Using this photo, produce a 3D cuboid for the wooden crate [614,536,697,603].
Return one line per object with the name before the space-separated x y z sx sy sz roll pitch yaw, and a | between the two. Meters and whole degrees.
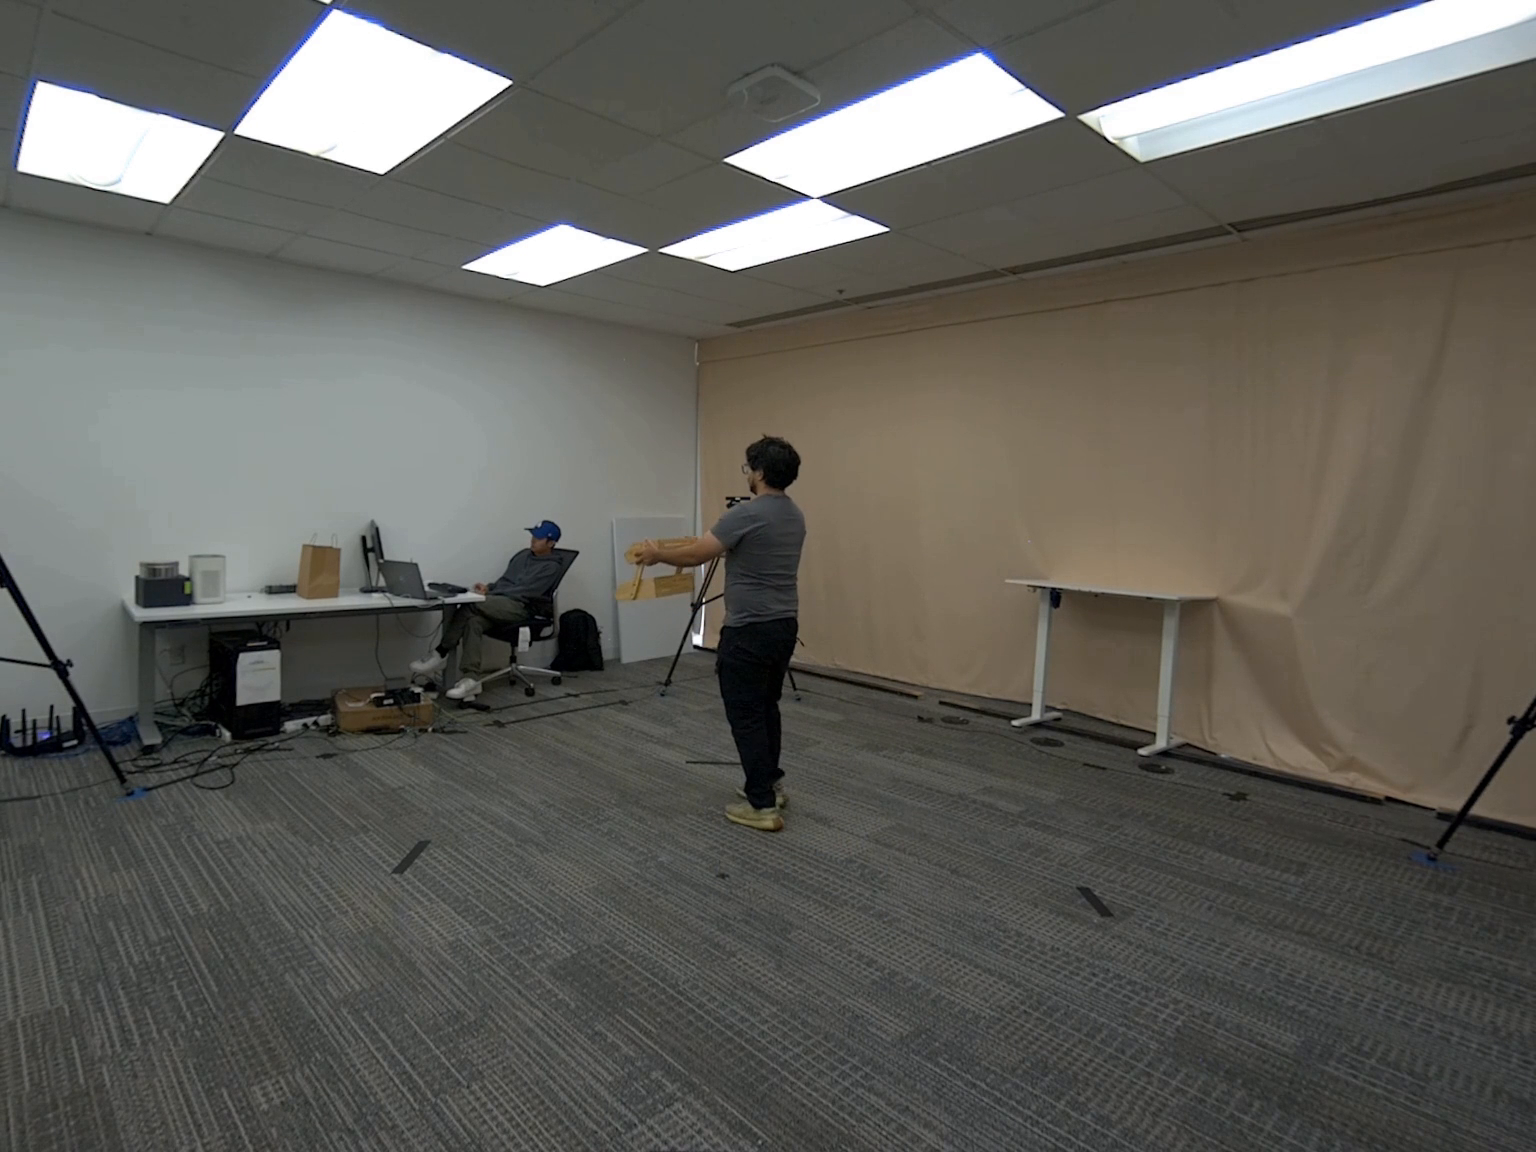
wooden crate | -0.544 -0.033 3.972 0.308 0.273 0.318 -5 1 32
